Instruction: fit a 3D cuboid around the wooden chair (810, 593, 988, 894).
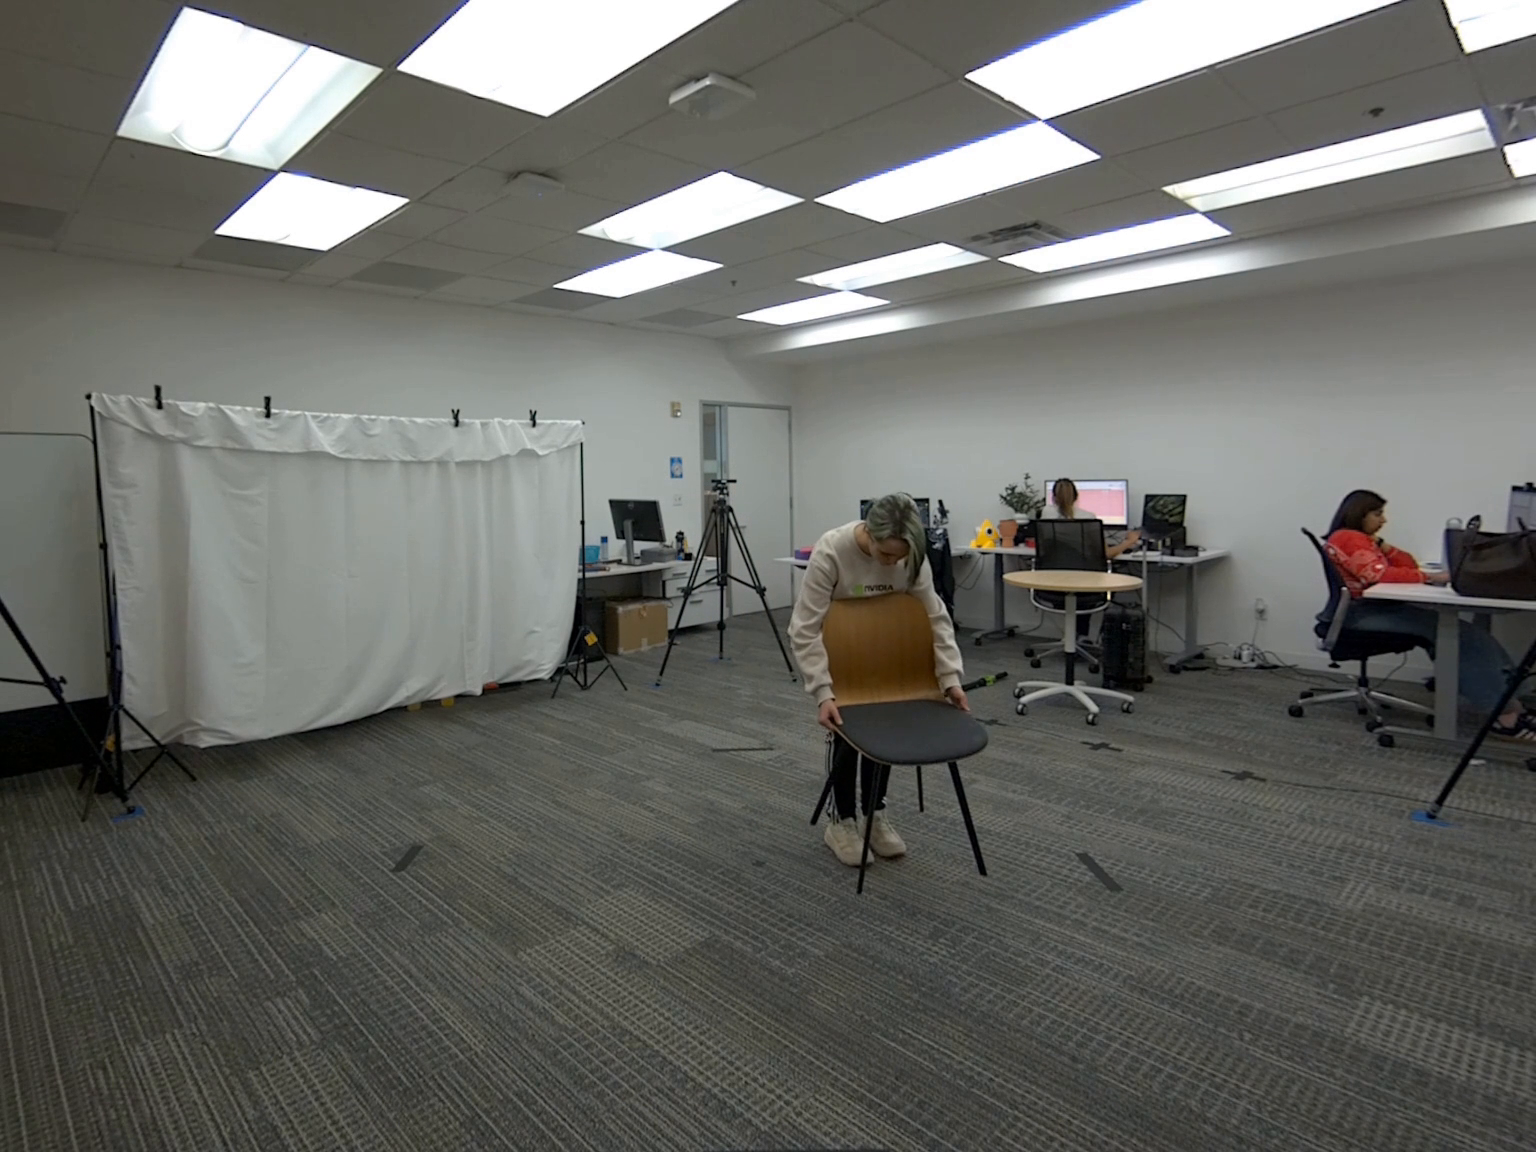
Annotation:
[{"bbox_3d":[0.448,0.542,2.872,0.471,0.873,0.534,-2,6,-17],"label":"wooden chair"}]
